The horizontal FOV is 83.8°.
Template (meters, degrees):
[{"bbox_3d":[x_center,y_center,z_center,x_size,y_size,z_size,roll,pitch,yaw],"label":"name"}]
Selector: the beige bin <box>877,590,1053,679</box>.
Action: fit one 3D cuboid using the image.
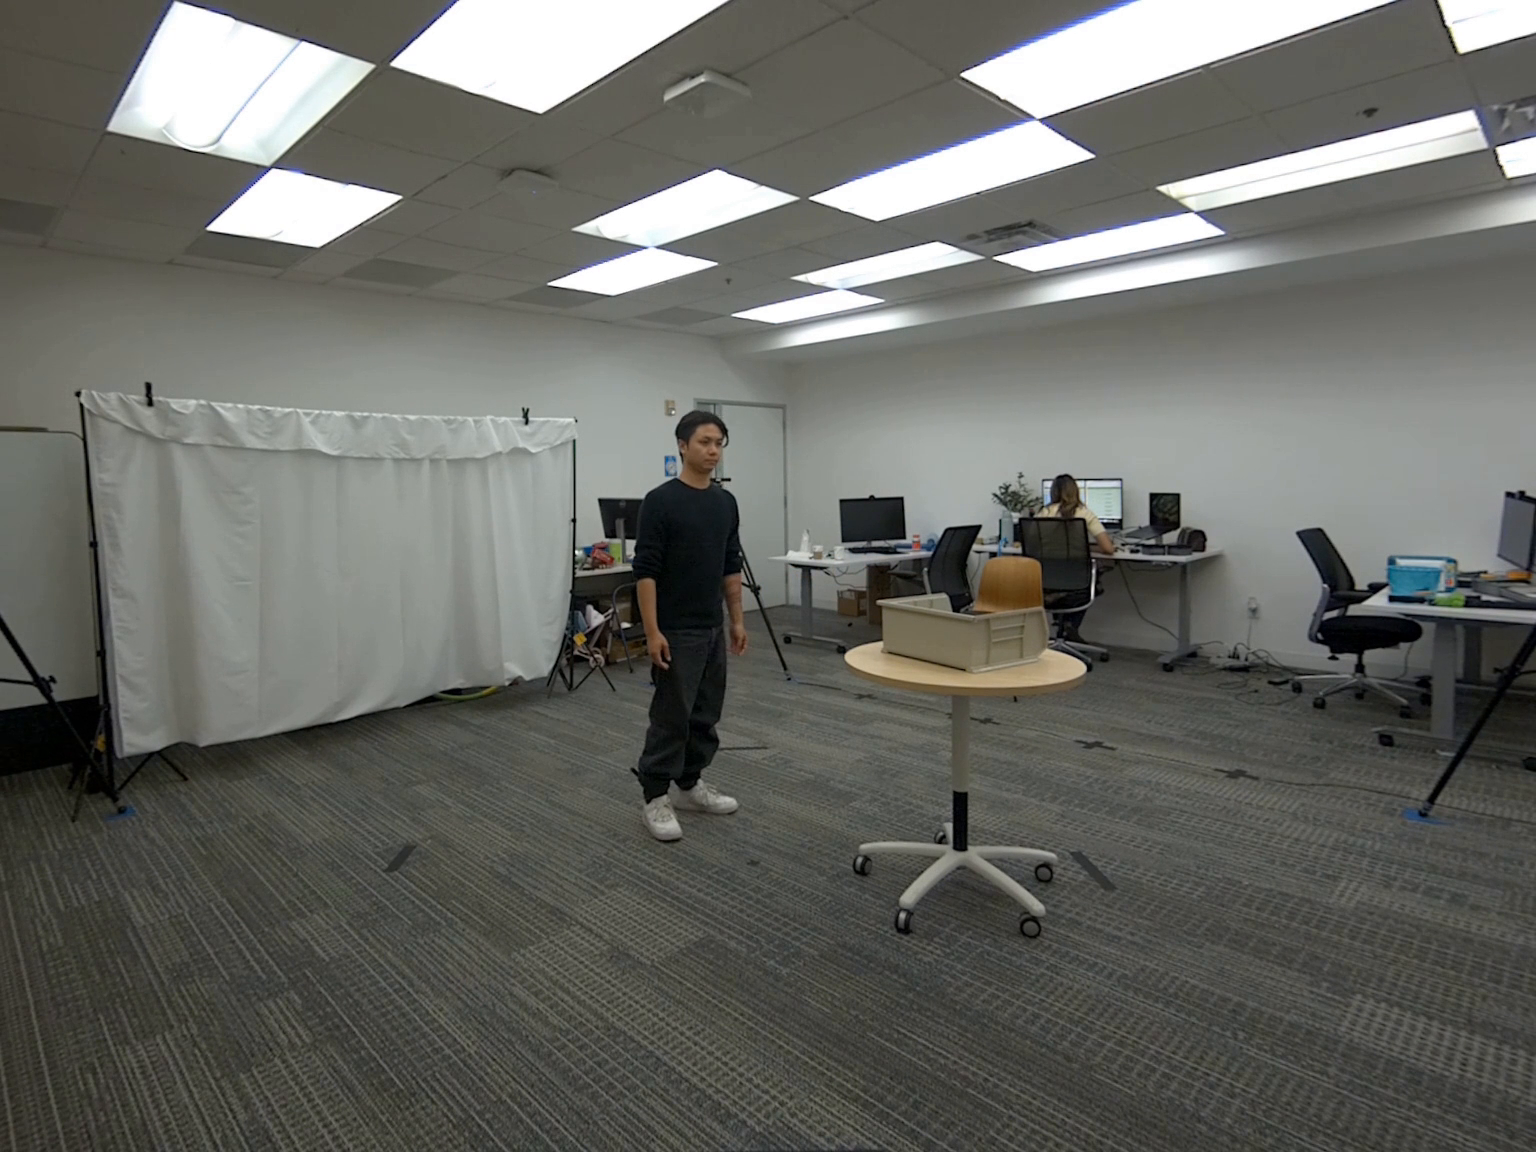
[{"bbox_3d":[0.653,0.181,2.881,0.368,0.188,0.435,-6,8,-35],"label":"beige bin"}]
